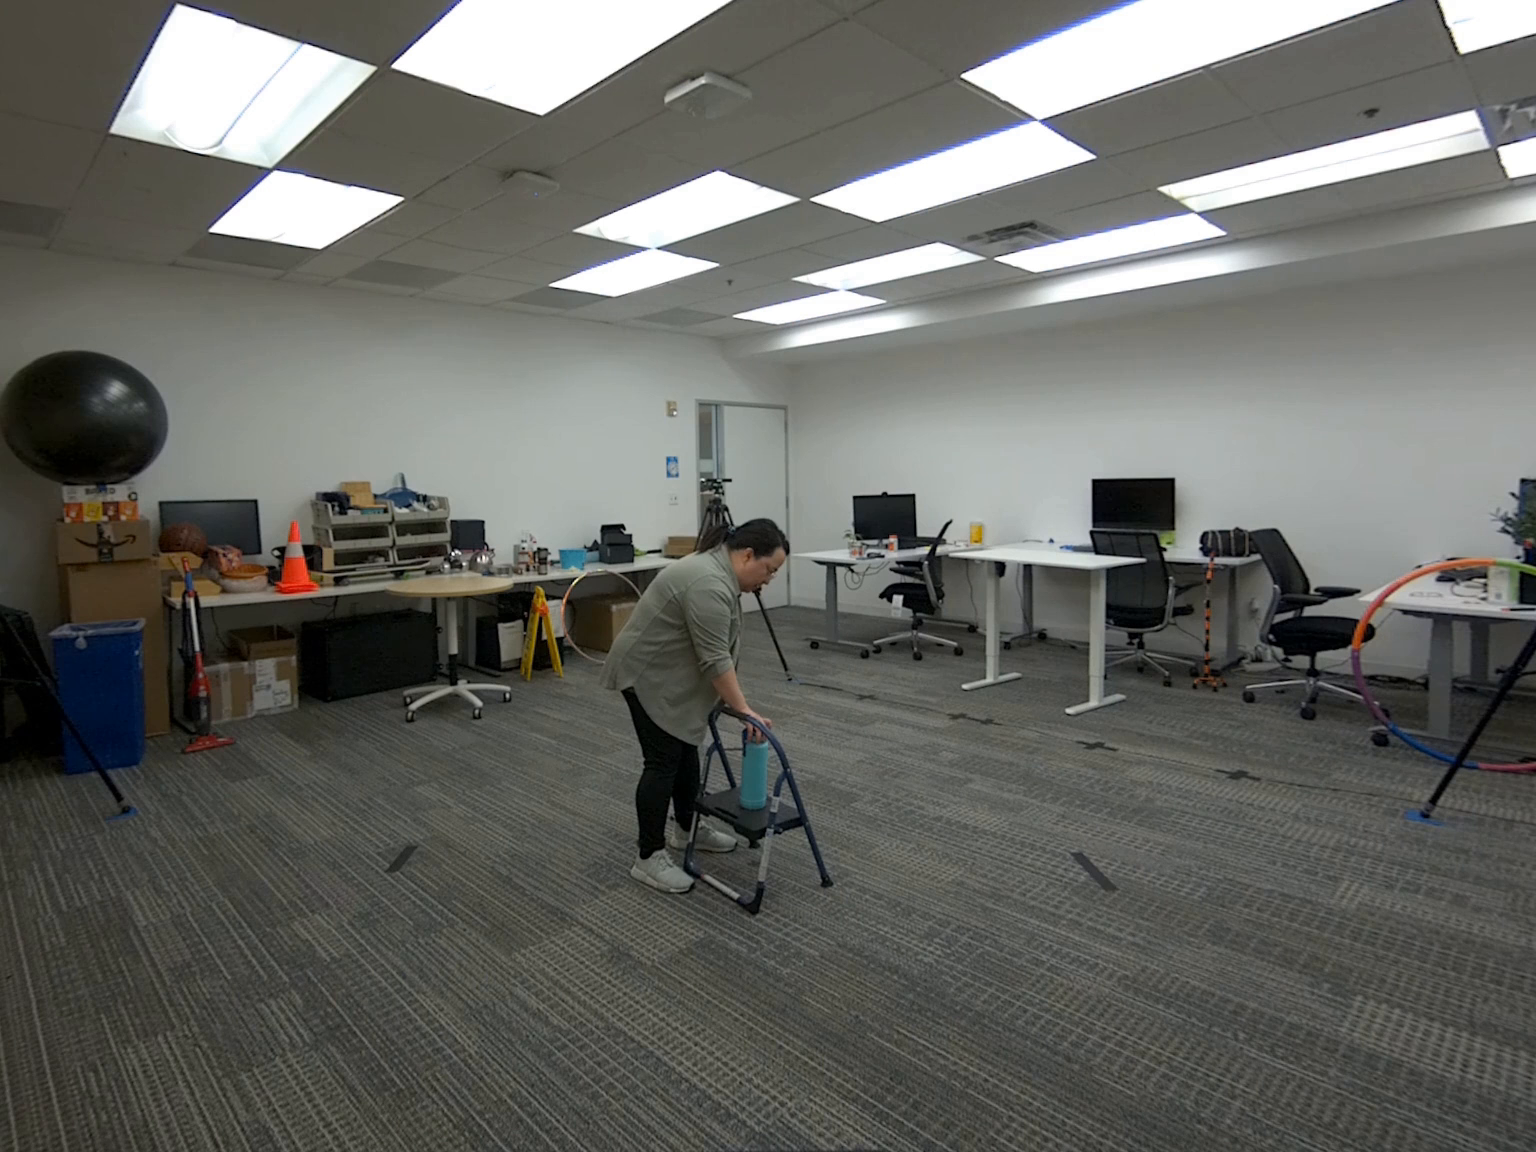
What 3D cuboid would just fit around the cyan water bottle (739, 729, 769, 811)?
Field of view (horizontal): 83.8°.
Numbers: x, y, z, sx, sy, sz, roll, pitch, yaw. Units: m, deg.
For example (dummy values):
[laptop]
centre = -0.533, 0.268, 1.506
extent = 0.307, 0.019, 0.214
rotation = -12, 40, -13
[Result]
[cyan water bottle]
centre = -0.045, 0.655, 2.953
extent = 0.092, 0.282, 0.093
rotation = 2, 5, -2
